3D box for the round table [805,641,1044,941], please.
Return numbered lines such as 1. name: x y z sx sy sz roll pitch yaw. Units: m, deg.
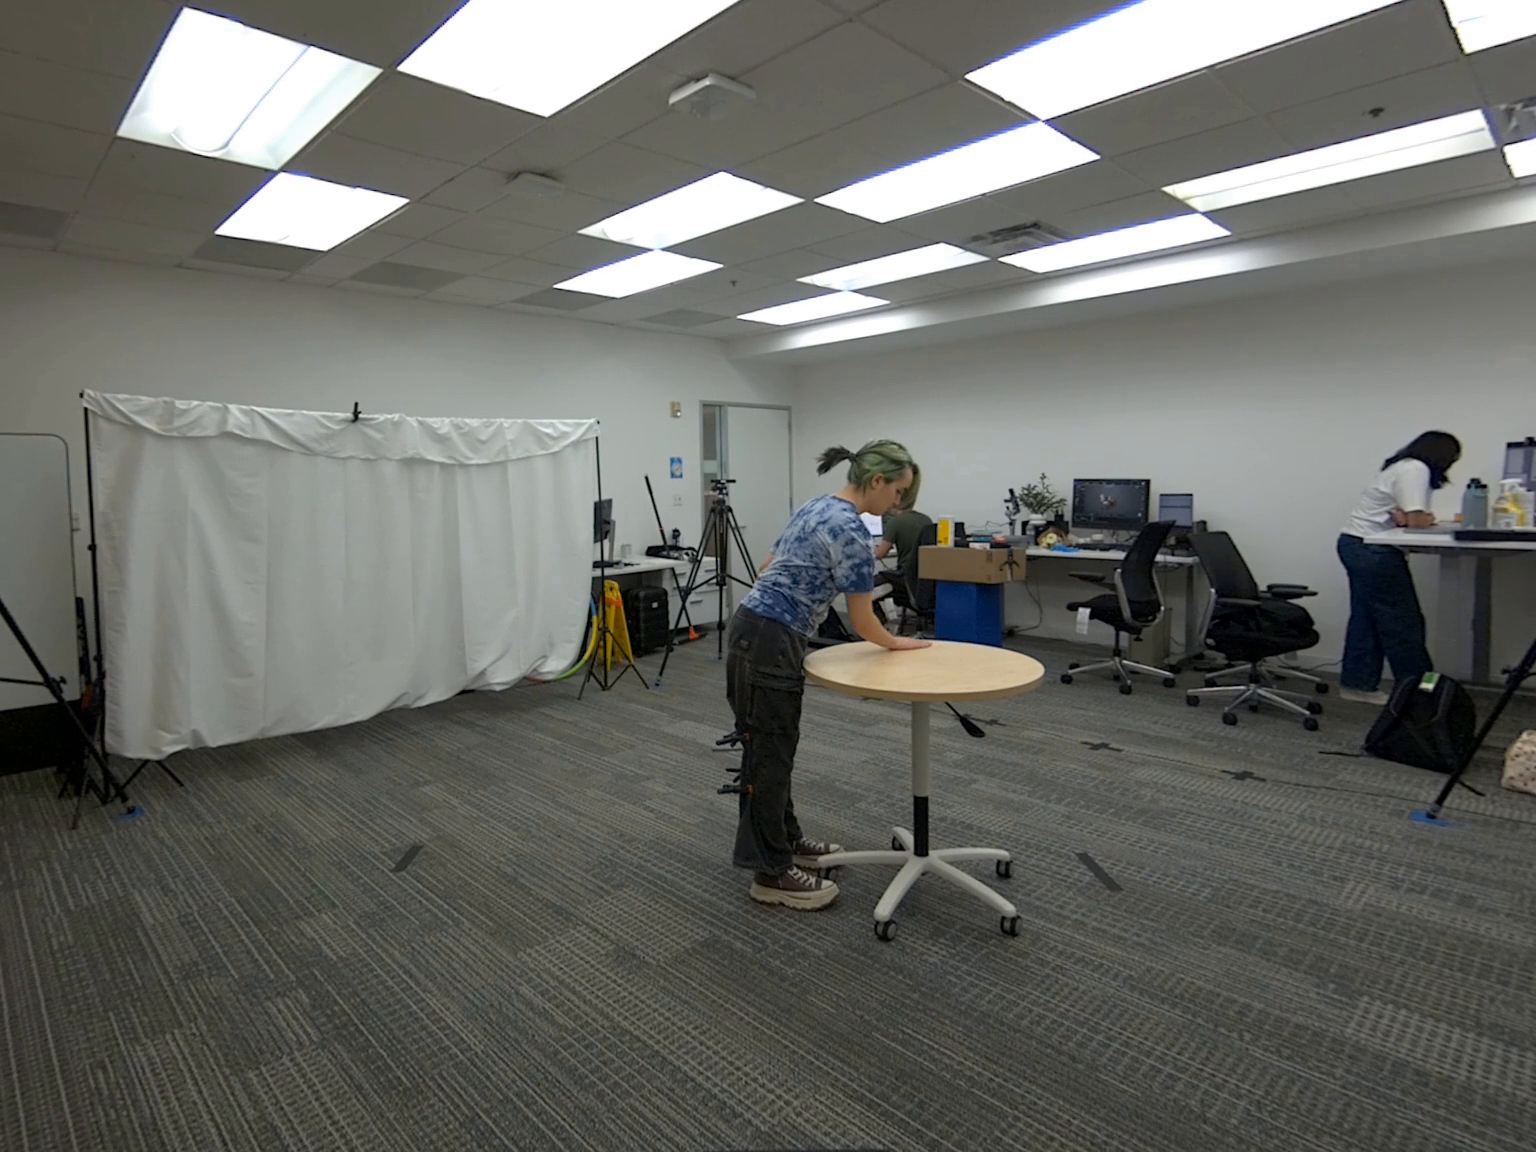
1. round table: 0.495 0.674 2.818 0.784 0.783 0.789 -1 5 -2
